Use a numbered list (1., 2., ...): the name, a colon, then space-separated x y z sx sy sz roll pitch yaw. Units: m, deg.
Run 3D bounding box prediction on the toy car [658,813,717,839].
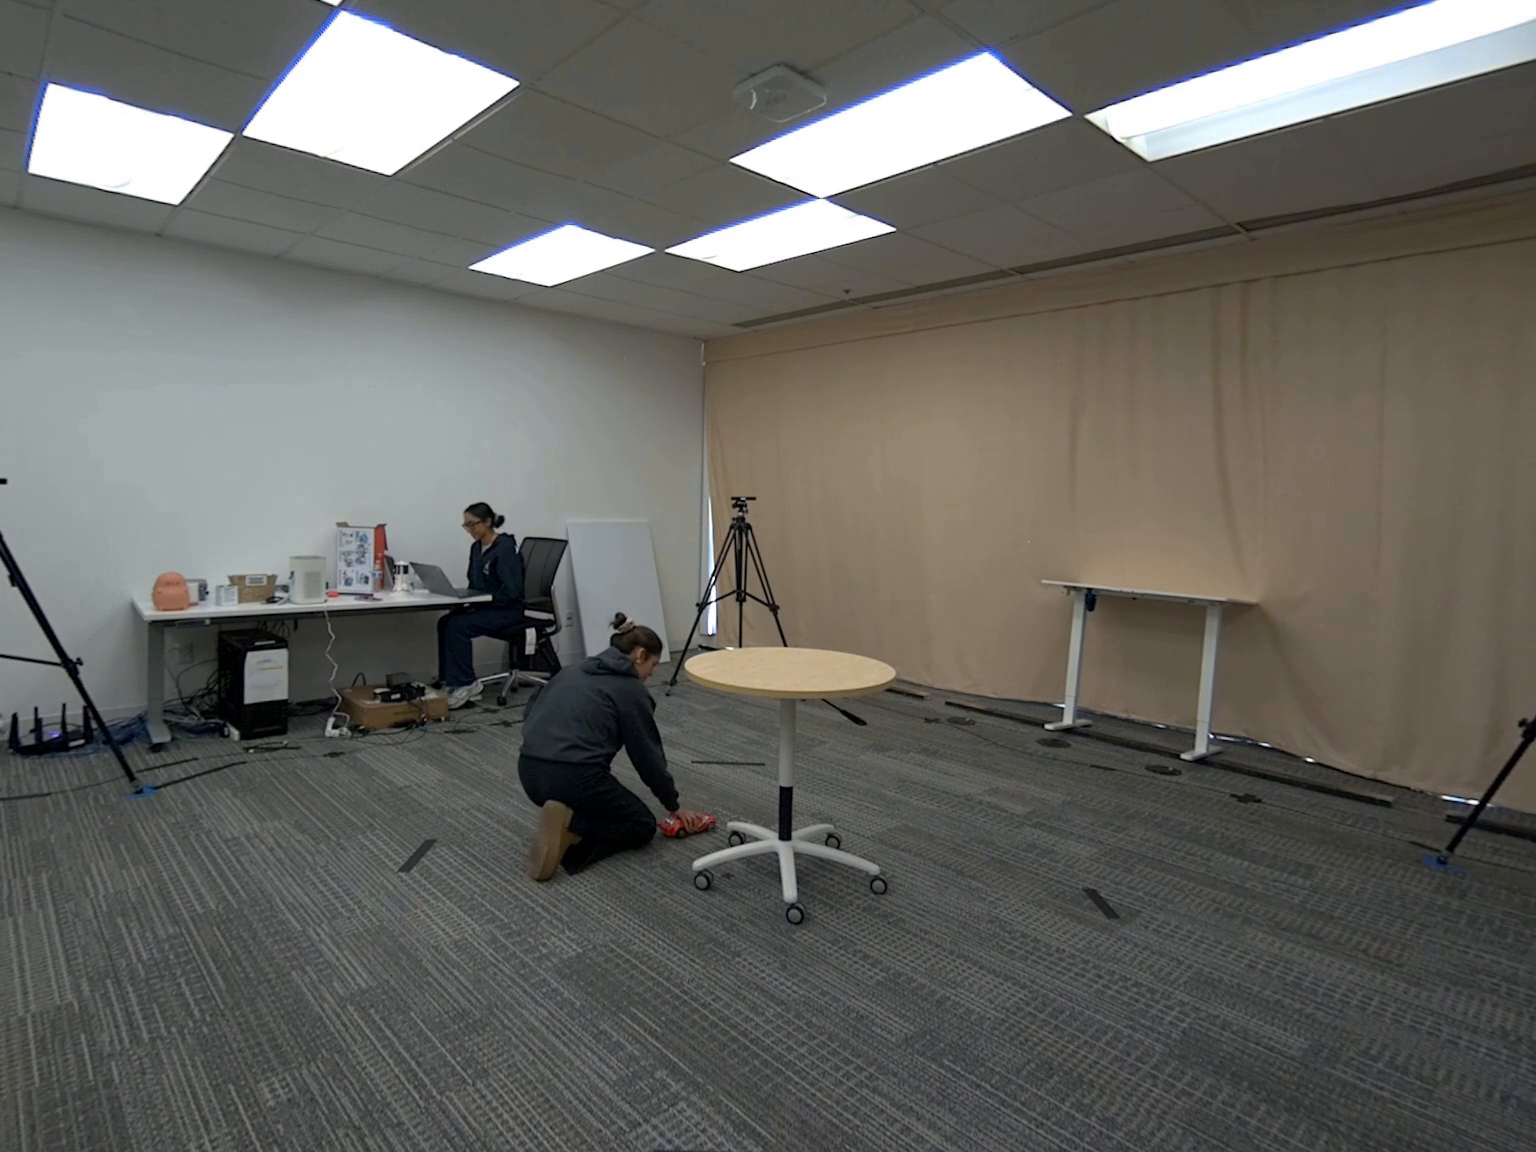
1. toy car: -0.356 1.035 3.507 0.248 0.083 0.133 11 -1 -34
